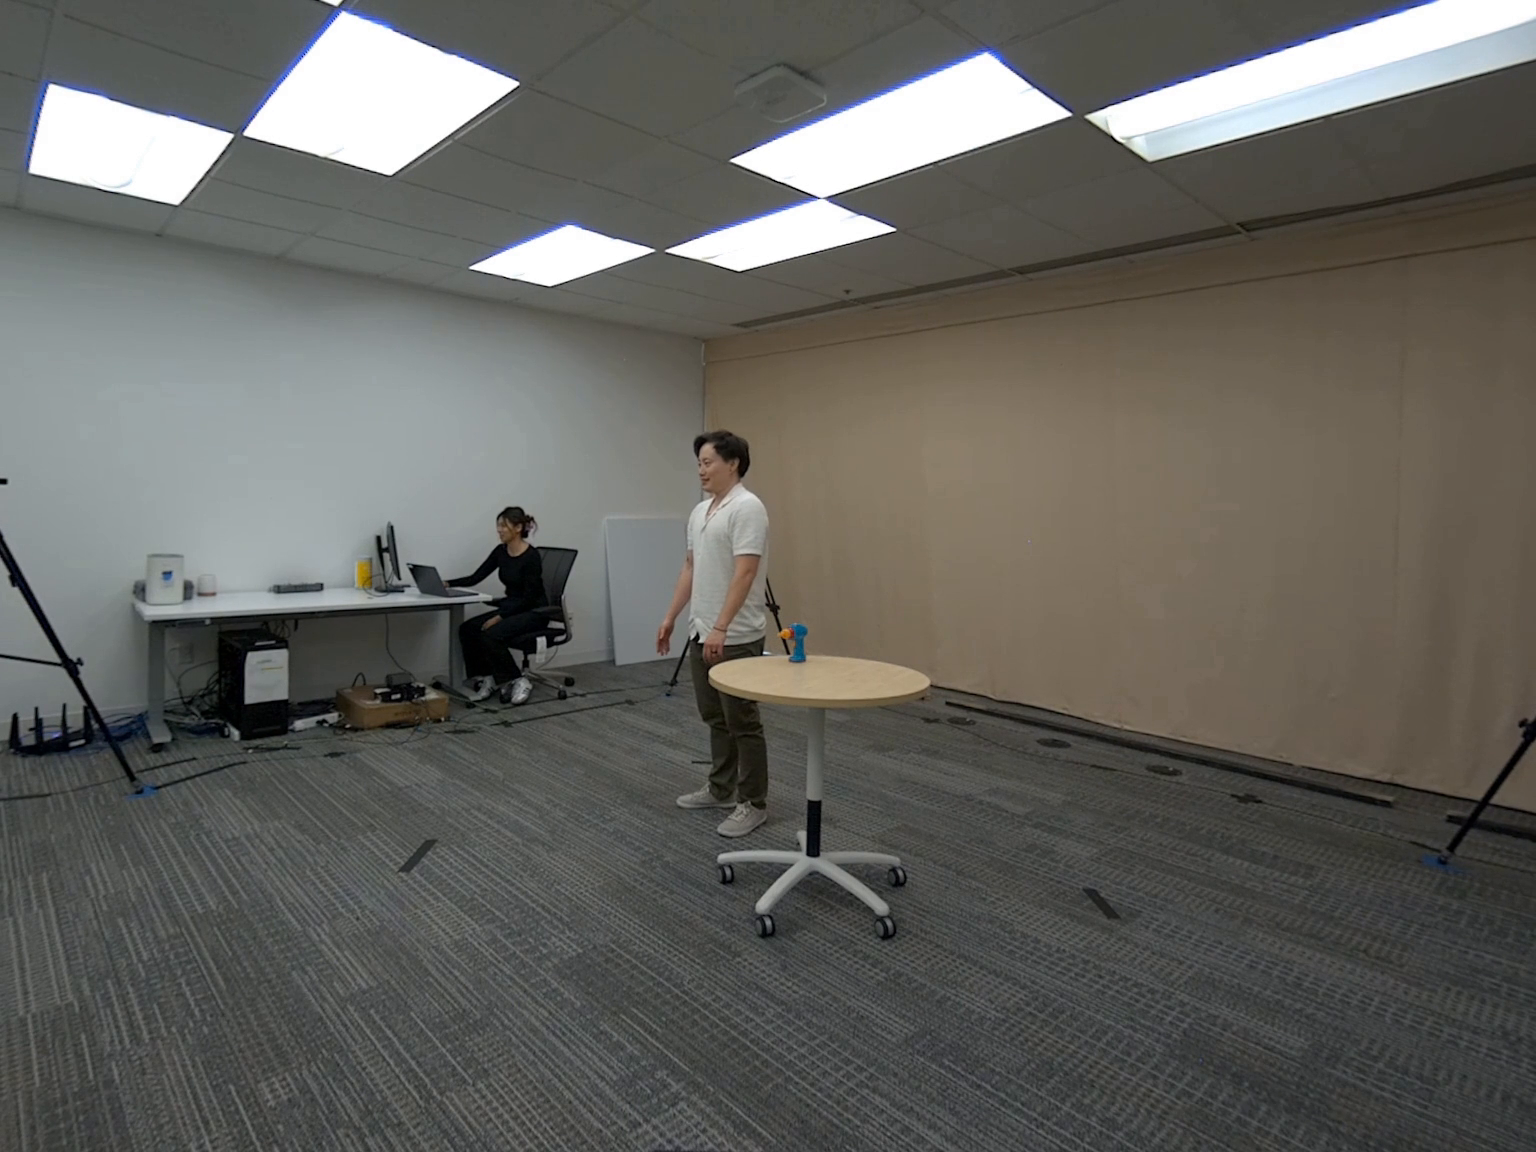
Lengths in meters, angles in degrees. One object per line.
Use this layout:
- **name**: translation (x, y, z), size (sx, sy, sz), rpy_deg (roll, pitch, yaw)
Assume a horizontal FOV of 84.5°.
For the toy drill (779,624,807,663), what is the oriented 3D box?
- **toy drill**: translation (0.087, 0.255, 3.156), size (0.063, 0.145, 0.166), rpy_deg (5, 7, 37)
